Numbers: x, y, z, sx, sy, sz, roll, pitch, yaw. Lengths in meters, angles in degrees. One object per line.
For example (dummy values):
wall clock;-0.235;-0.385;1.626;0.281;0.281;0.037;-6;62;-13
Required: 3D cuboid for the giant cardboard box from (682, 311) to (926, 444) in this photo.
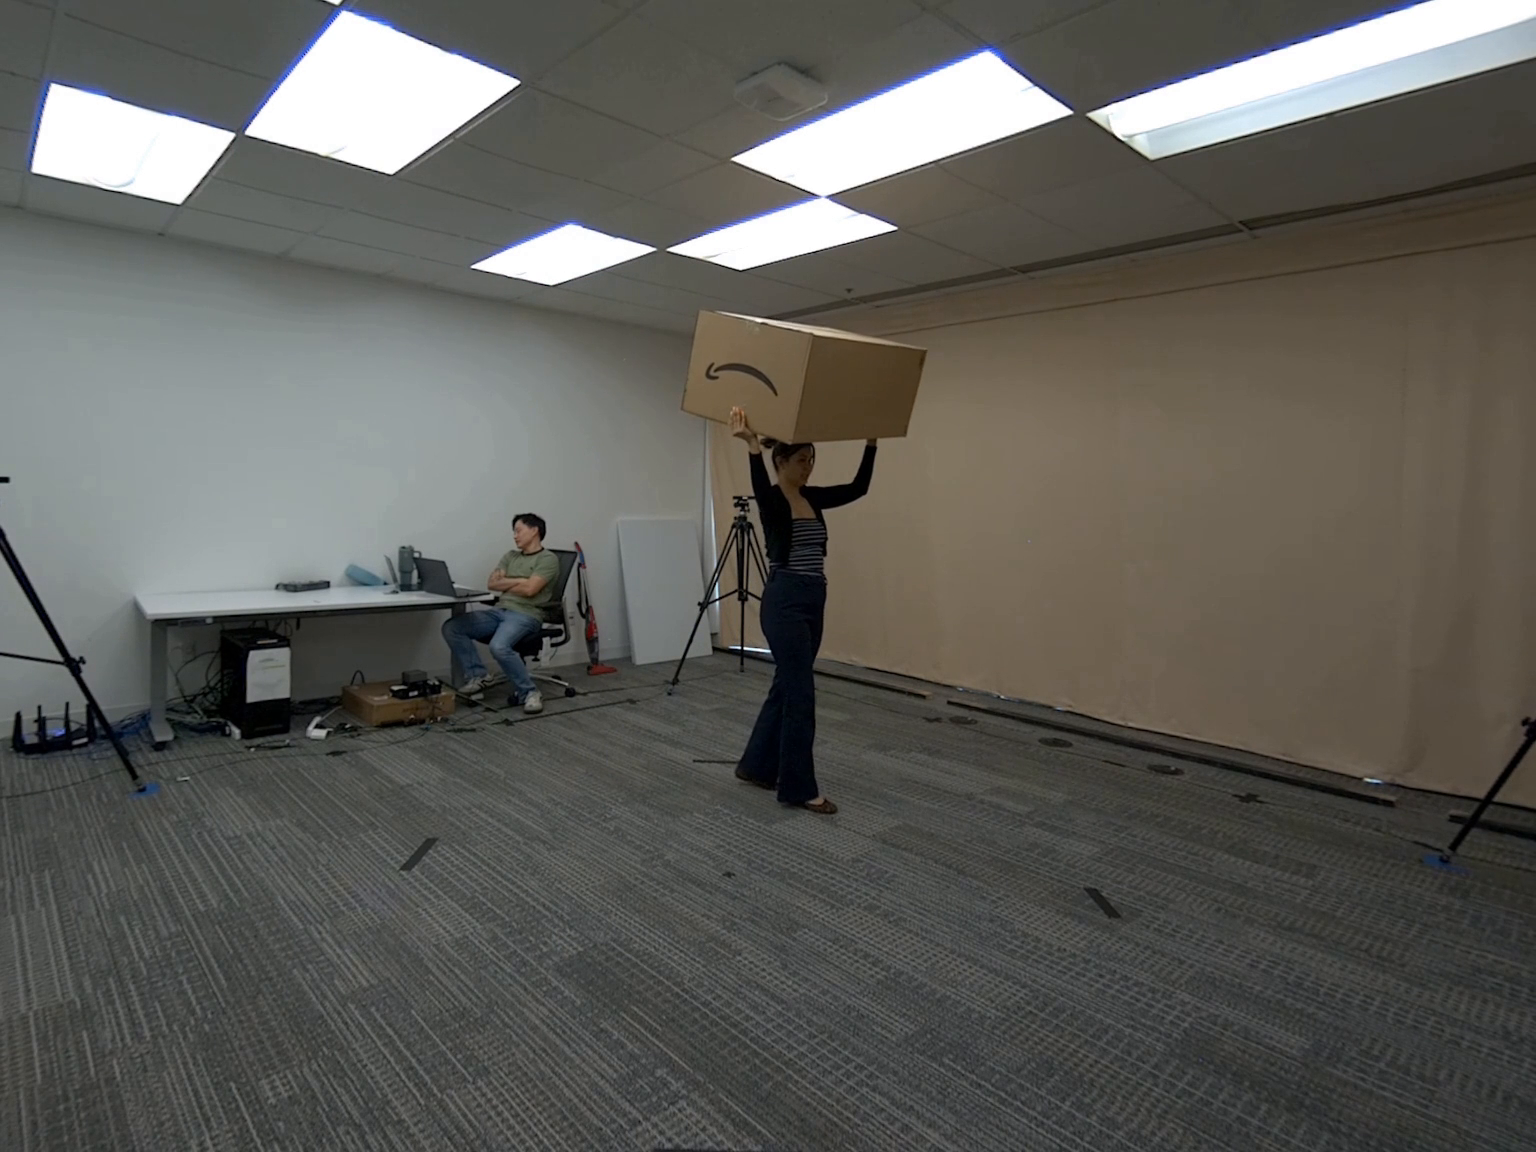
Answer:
giant cardboard box;0.178;-0.870;3.732;0.593;0.422;1.008;22;21;31
